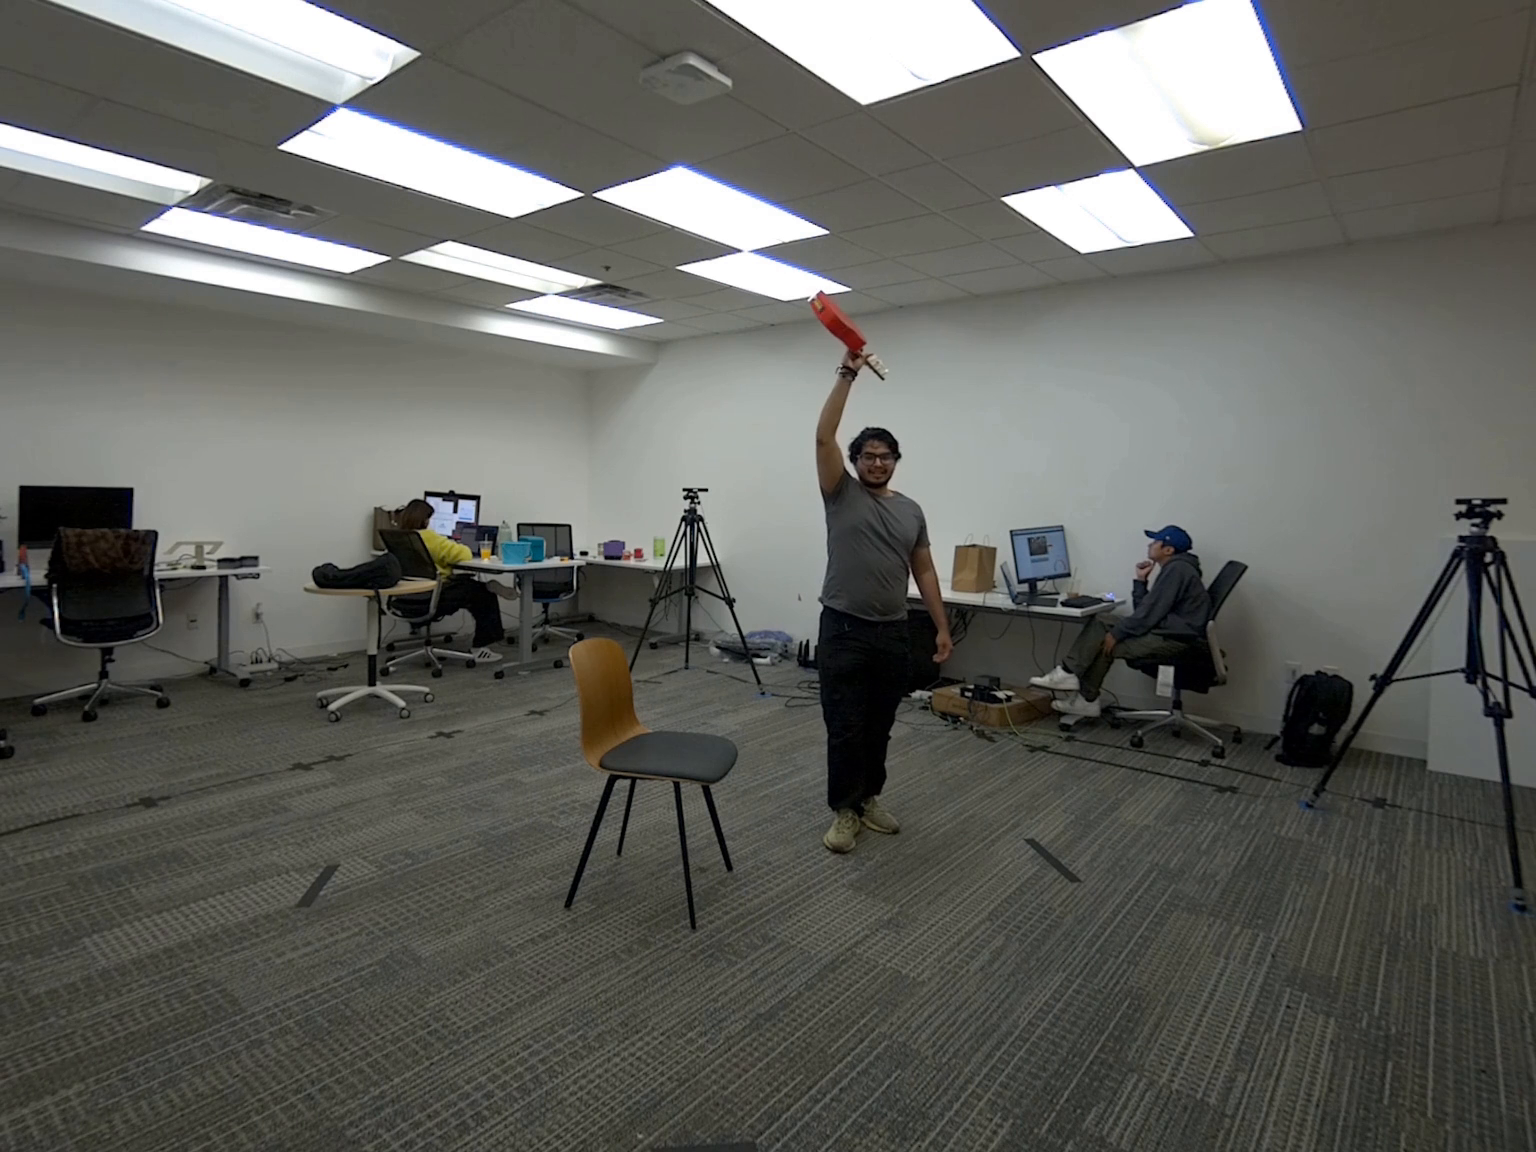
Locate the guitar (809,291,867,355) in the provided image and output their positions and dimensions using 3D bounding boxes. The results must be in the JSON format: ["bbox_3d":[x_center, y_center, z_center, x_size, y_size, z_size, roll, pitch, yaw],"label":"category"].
[{"bbox_3d":[0.307,-0.916,3.234,0.071,0.200,0.478,-40,-33,20],"label":"guitar"}]
